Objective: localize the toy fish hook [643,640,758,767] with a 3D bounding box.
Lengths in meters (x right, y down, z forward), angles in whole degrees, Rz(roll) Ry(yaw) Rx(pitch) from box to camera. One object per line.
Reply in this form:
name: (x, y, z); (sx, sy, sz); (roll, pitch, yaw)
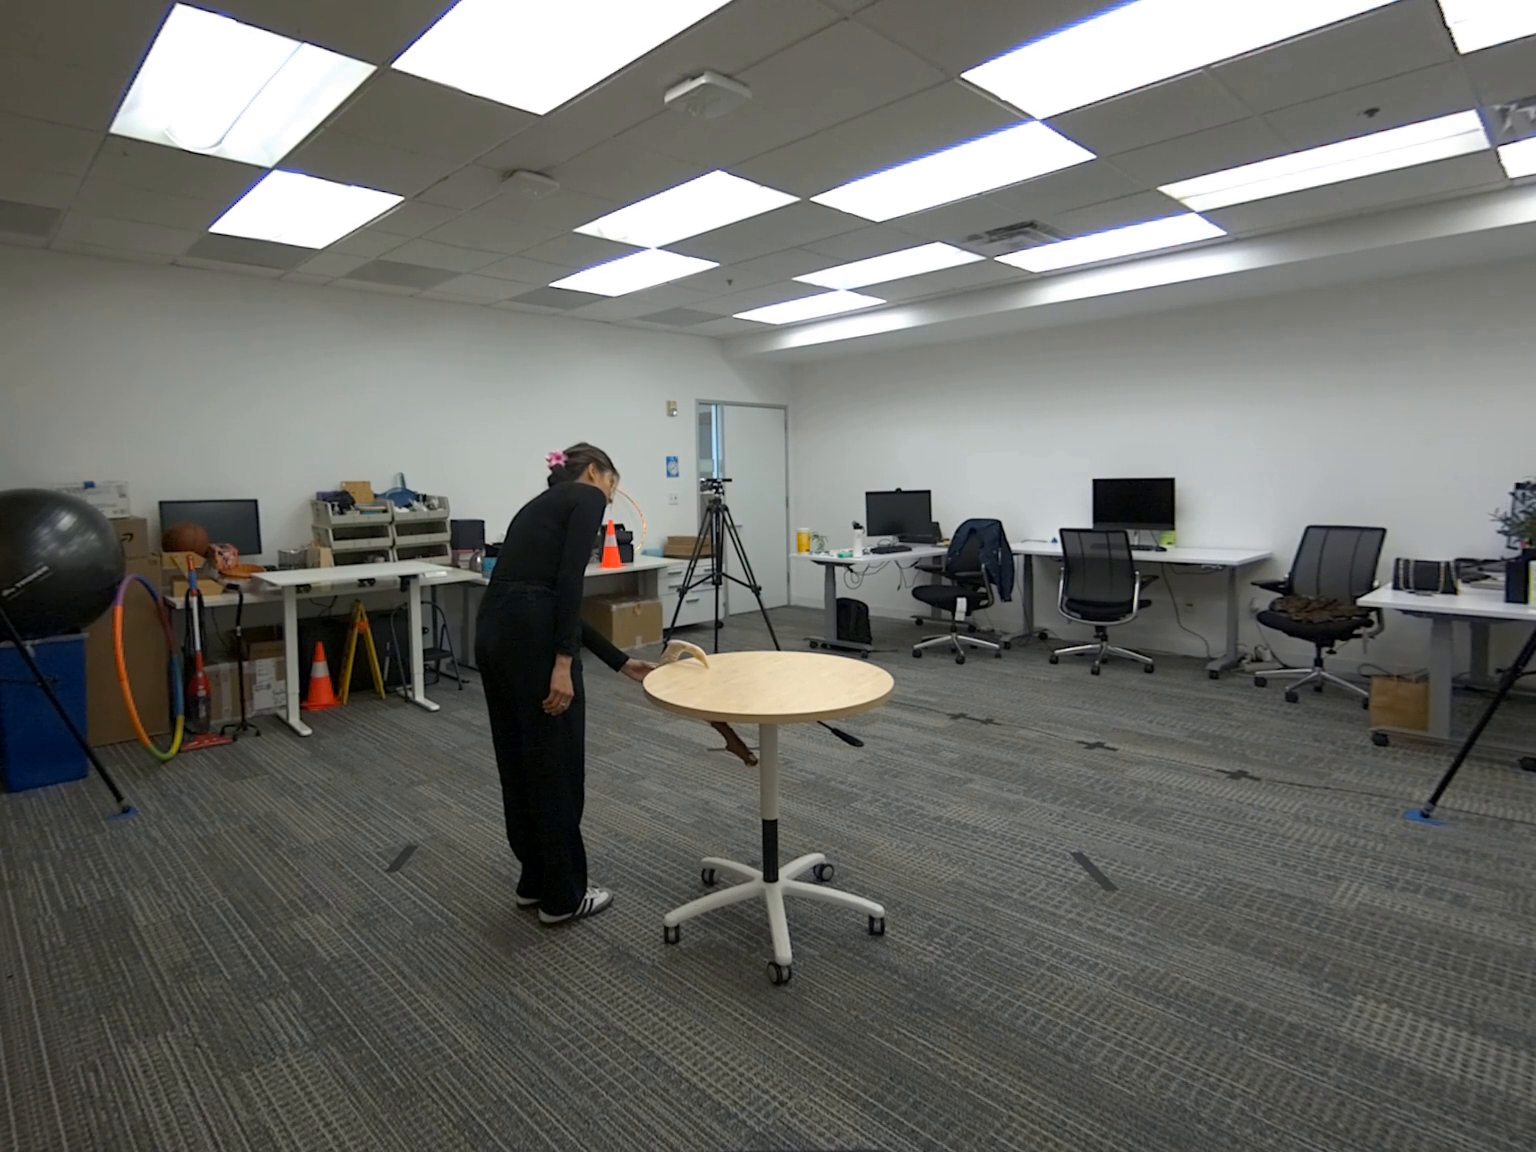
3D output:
toy fish hook: (-0.193, 0.399, 2.771); (0.525, 0.222, 0.047); (38, 27, 32)
